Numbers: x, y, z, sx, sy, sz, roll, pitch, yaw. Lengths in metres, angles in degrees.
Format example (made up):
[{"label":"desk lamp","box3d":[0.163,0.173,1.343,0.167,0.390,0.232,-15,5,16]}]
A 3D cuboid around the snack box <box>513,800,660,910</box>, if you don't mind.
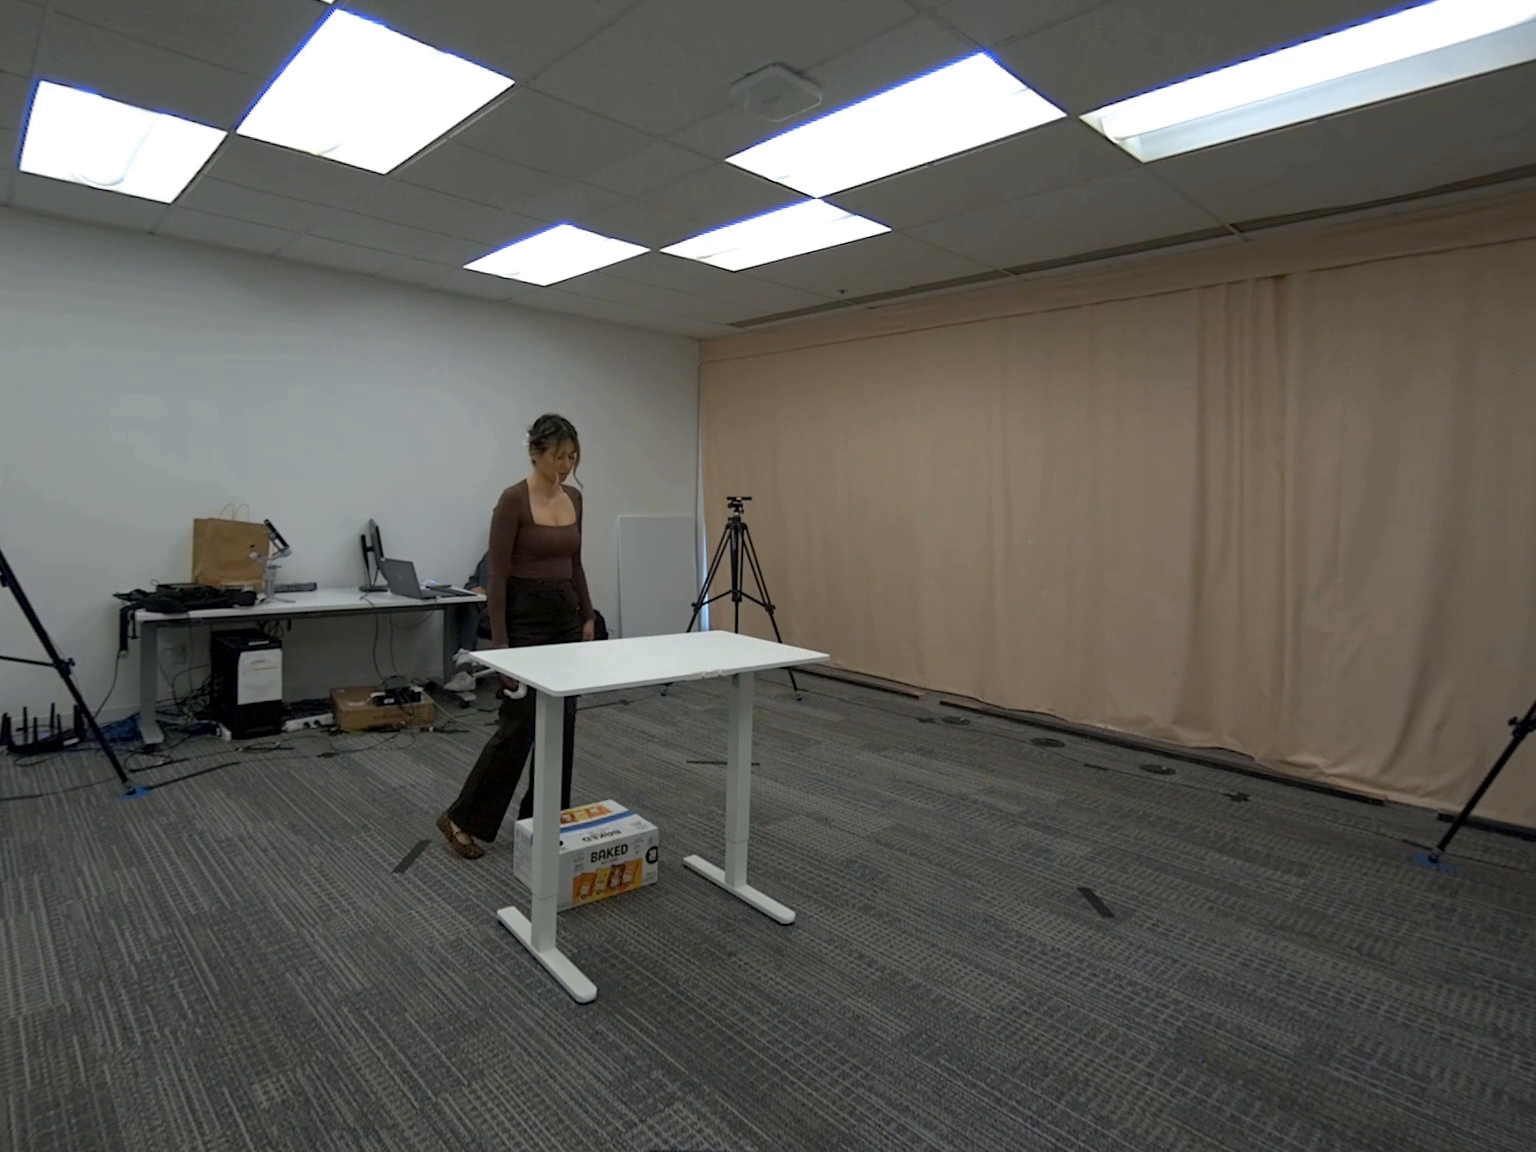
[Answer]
[{"label":"snack box","box3d":[-0.663,1.000,3.036,0.396,0.205,0.349,-2,6,-39]}]
